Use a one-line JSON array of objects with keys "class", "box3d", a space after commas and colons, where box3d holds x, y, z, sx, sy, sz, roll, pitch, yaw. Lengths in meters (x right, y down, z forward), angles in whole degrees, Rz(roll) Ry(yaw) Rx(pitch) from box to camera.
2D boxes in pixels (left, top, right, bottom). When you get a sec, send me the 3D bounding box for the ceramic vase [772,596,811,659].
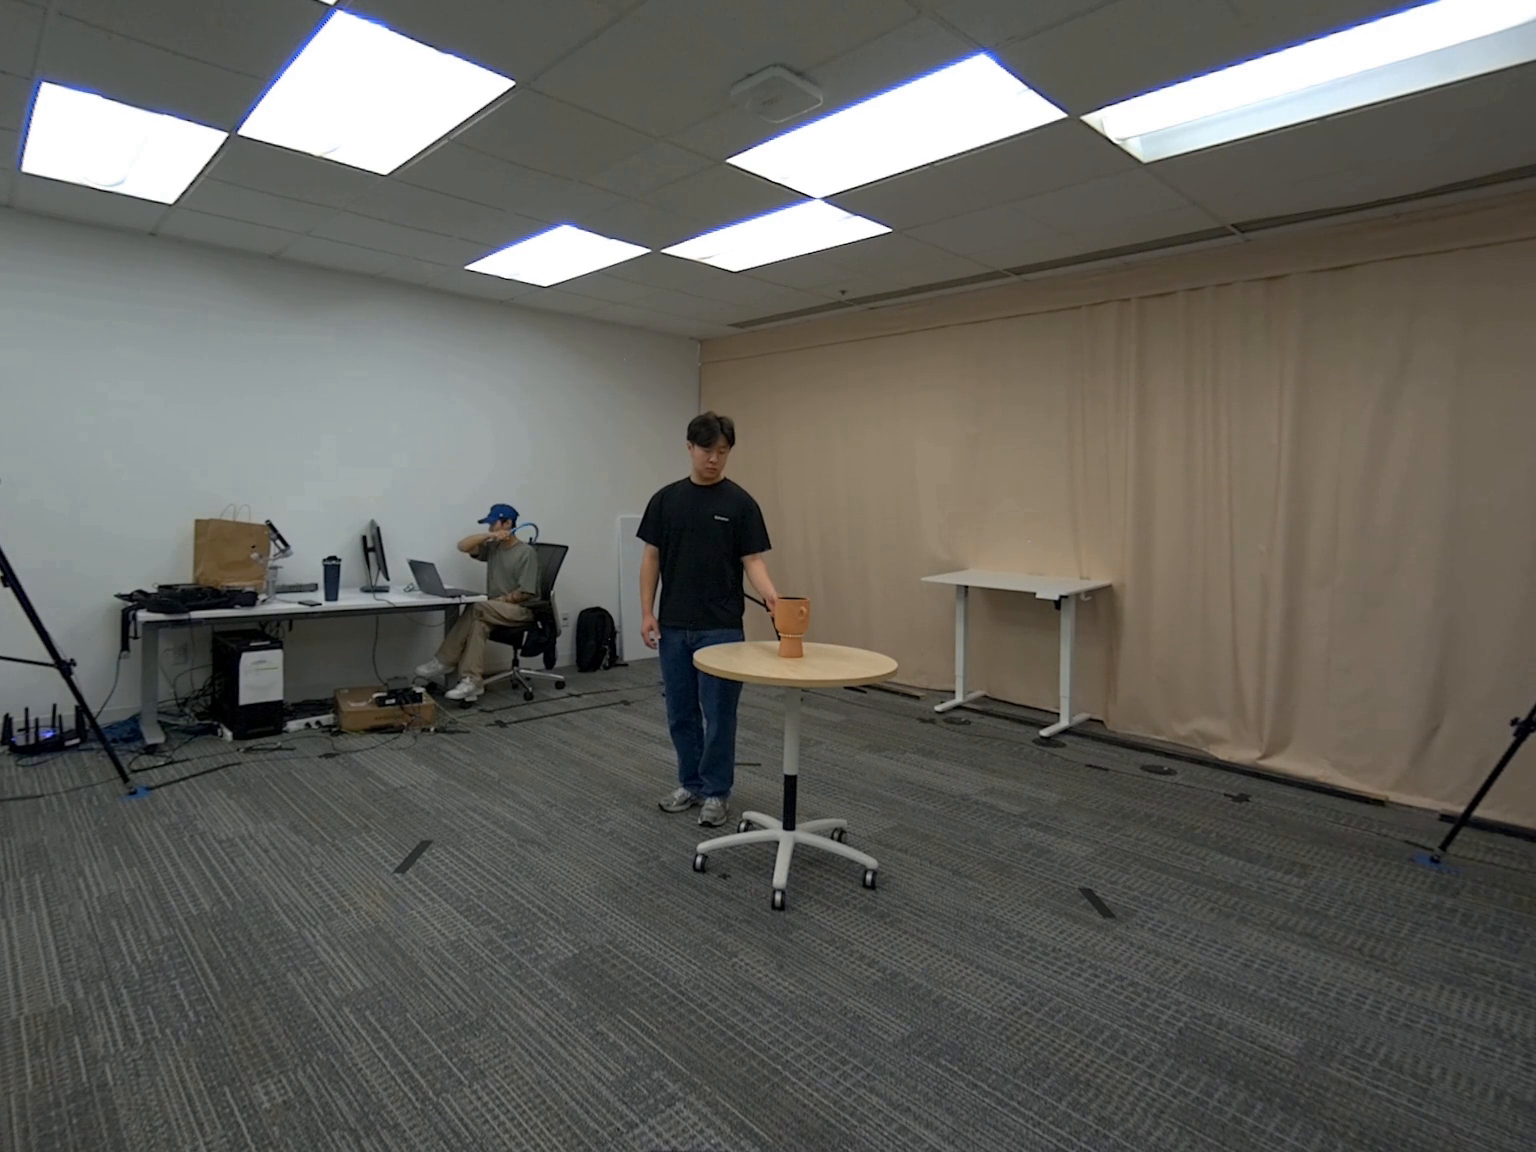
[{"class": "ceramic vase", "box3d": [0.083, 0.198, 3.219, 0.136, 0.219, 0.157, 1, 2, 10]}]
